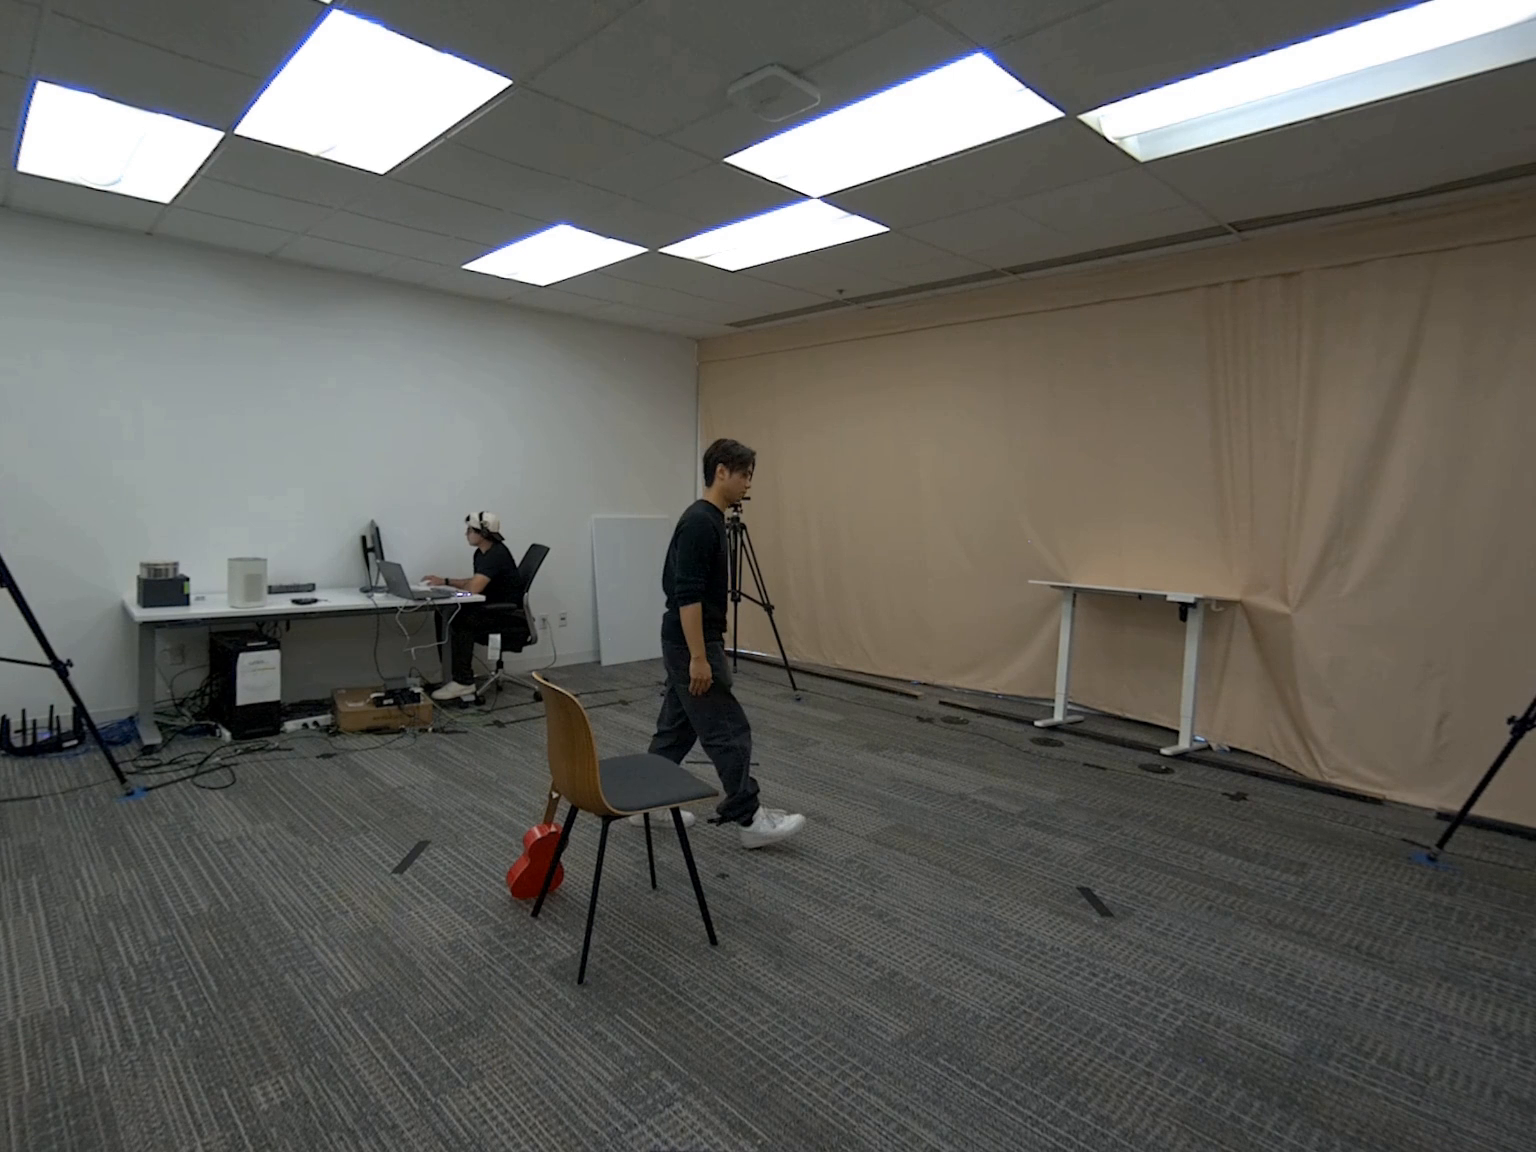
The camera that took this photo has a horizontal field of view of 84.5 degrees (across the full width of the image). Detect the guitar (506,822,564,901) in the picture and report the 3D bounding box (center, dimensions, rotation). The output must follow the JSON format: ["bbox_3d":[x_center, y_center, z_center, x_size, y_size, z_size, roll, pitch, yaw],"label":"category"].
[{"bbox_3d":[-0.778,0.872,2.847,0.189,0.492,0.073,-3,25,-35],"label":"guitar"}]
